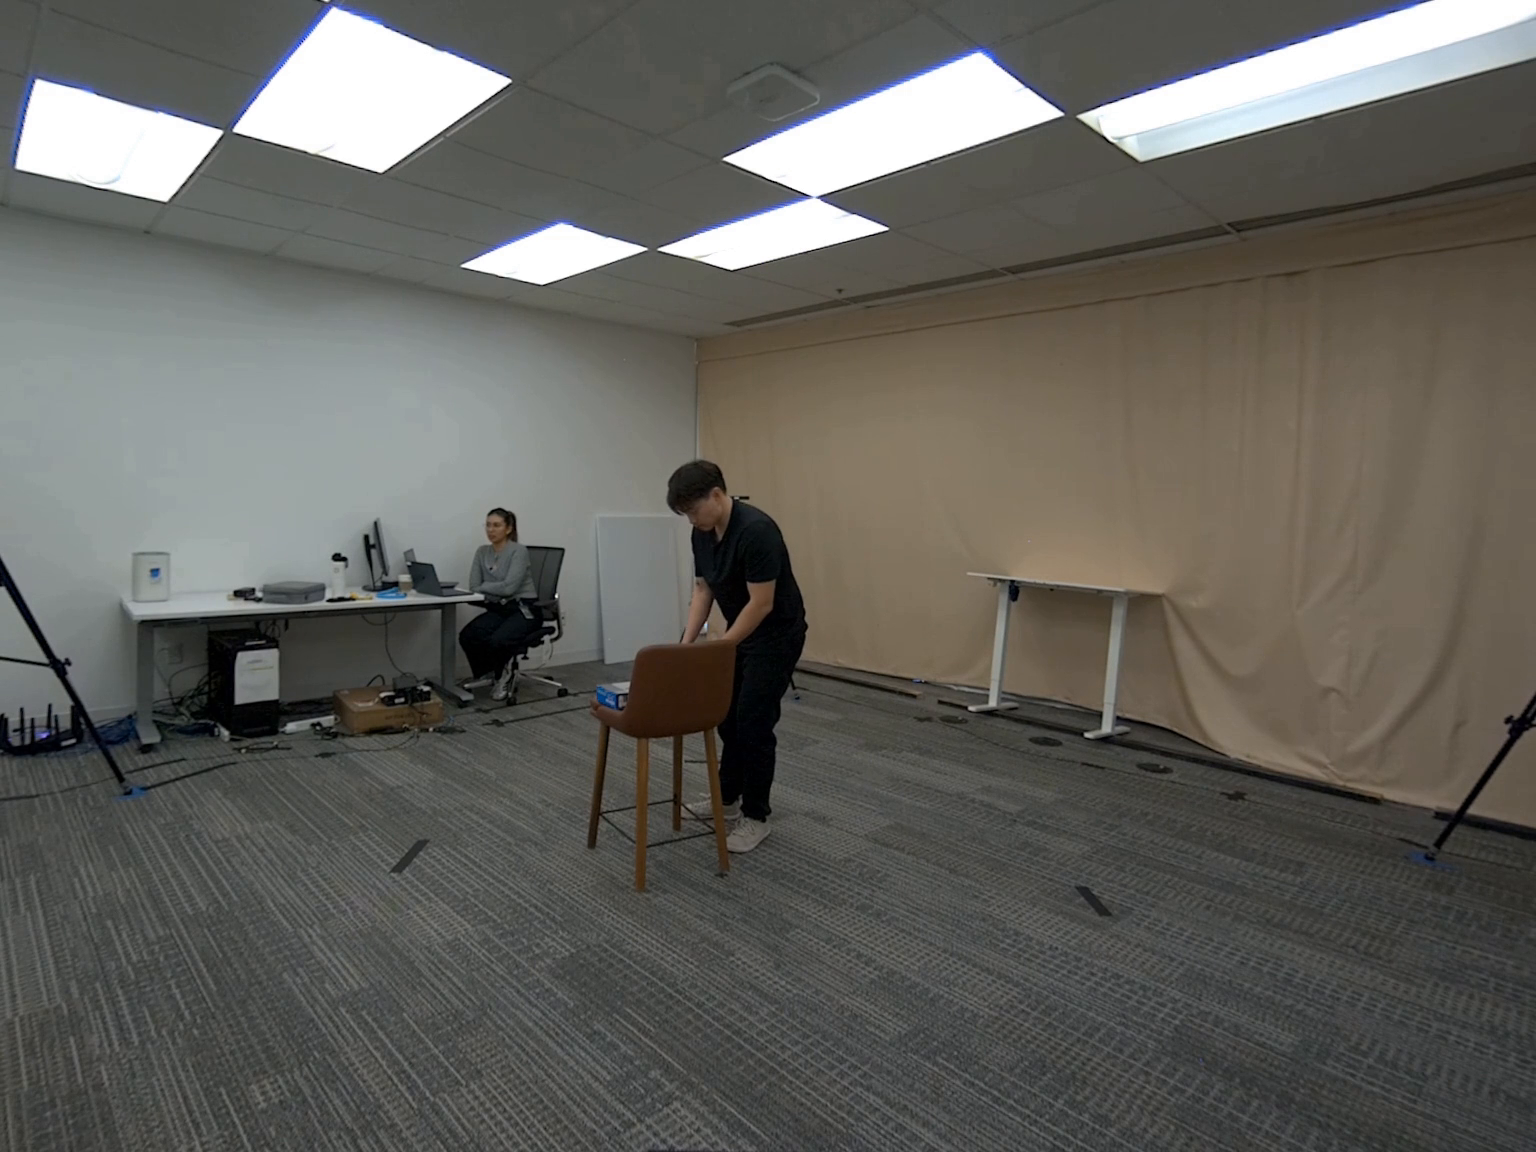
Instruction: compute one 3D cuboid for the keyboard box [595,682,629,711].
[{"bbox_3d":[-0.423,0.440,3.233,0.428,0.059,0.180,-3,5,-34],"label":"keyboard box"}]
